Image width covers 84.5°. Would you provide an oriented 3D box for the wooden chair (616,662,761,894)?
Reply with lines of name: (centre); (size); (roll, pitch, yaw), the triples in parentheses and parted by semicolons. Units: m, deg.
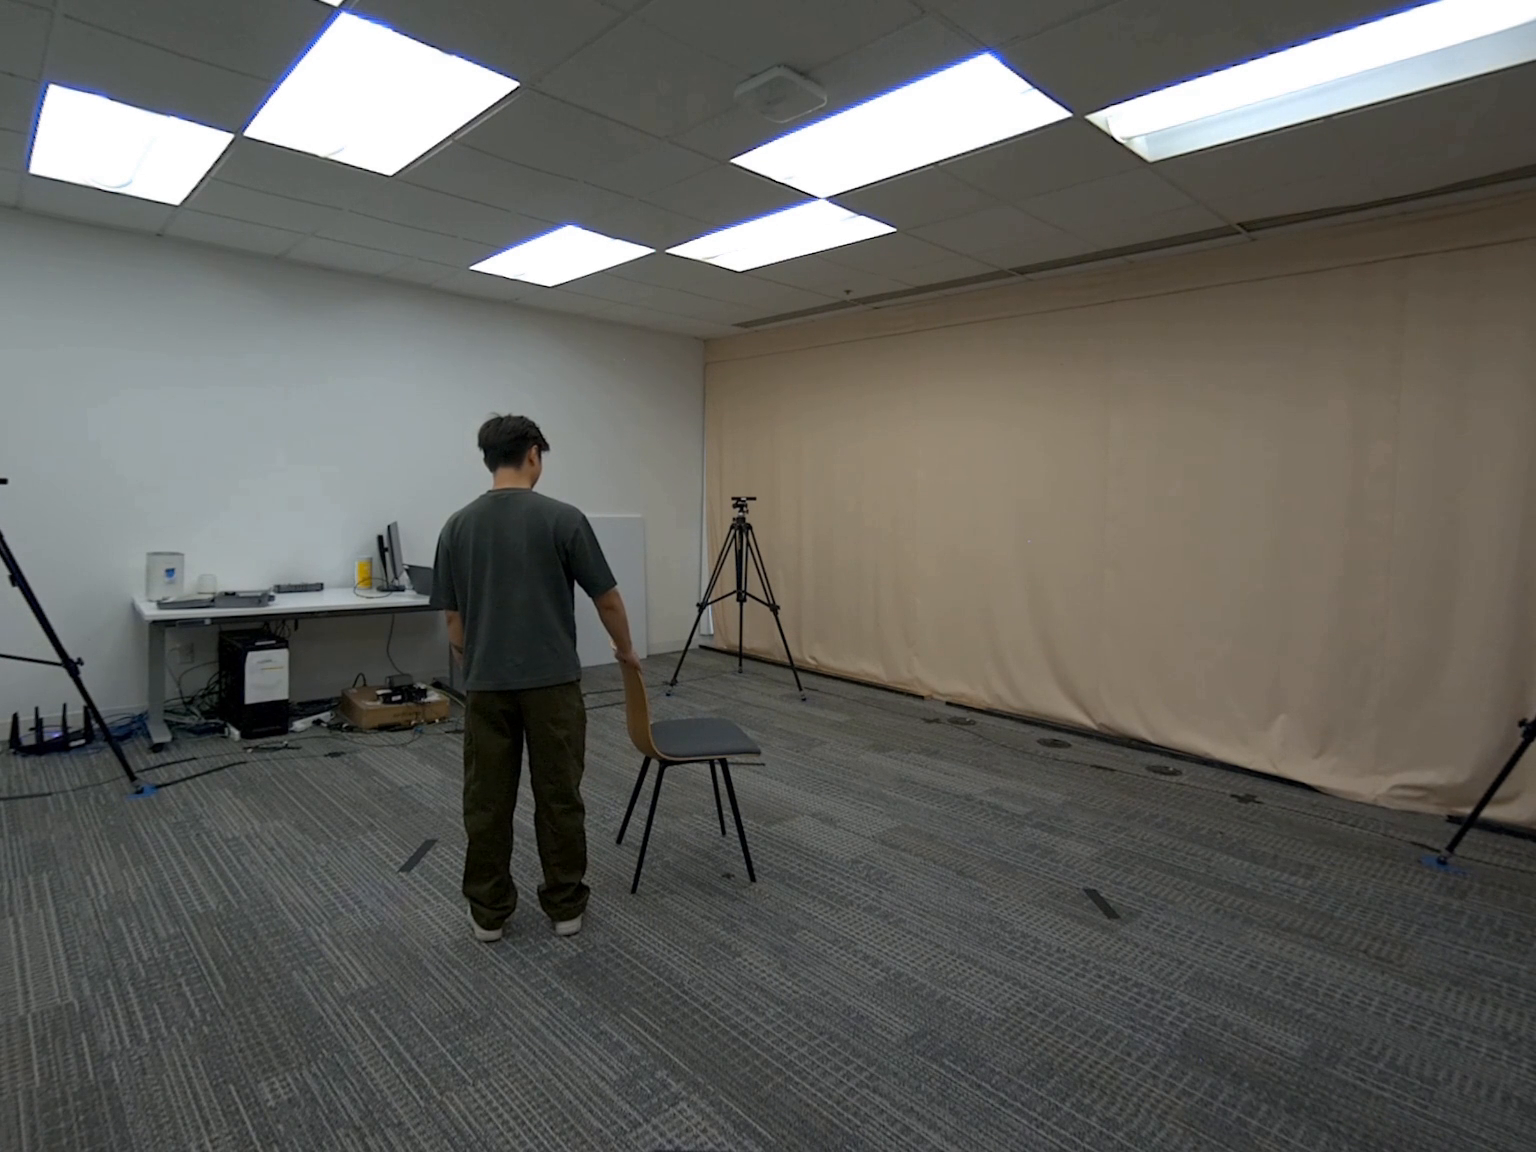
wooden chair: (-0.314, 0.667, 3.185); (0.517, 0.875, 0.485); (-4, 4, -16)
